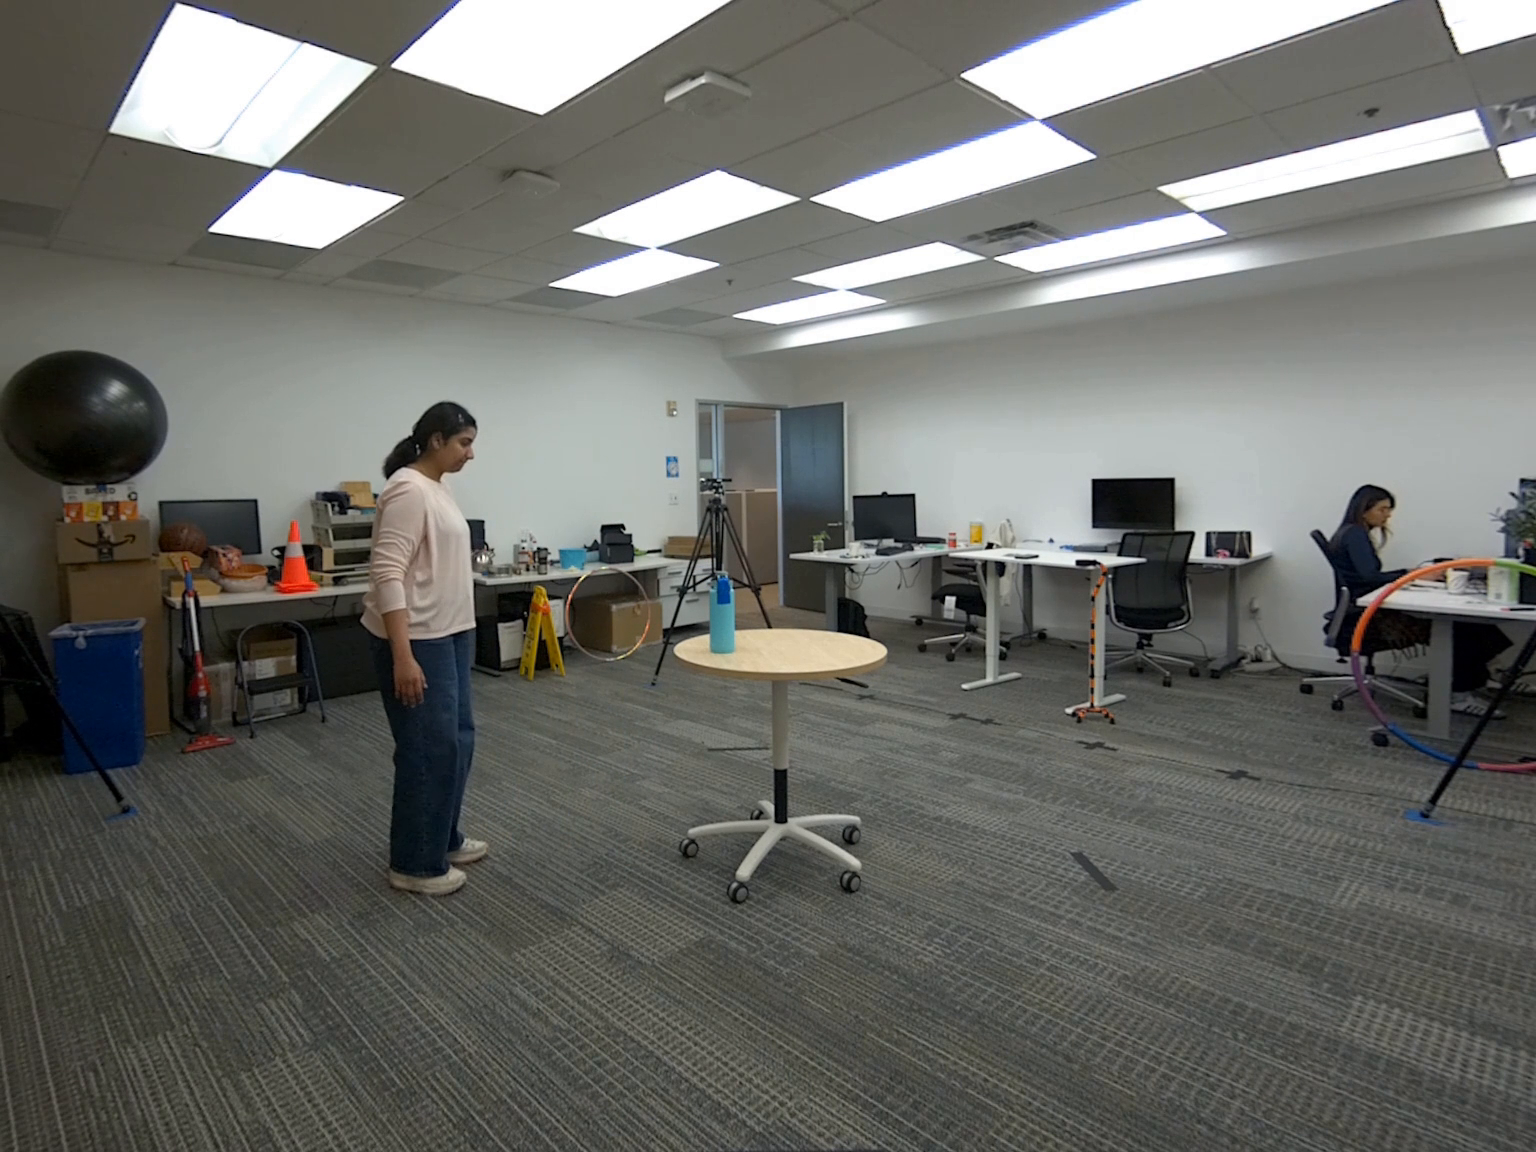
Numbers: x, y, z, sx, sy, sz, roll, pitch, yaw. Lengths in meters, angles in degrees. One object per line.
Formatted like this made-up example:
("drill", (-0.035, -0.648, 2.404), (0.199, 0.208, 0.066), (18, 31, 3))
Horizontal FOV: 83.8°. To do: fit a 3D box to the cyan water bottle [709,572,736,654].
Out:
("cyan water bottle", (-0.165, 0.131, 3.031), (0.092, 0.282, 0.093), (-1, 5, -2))
